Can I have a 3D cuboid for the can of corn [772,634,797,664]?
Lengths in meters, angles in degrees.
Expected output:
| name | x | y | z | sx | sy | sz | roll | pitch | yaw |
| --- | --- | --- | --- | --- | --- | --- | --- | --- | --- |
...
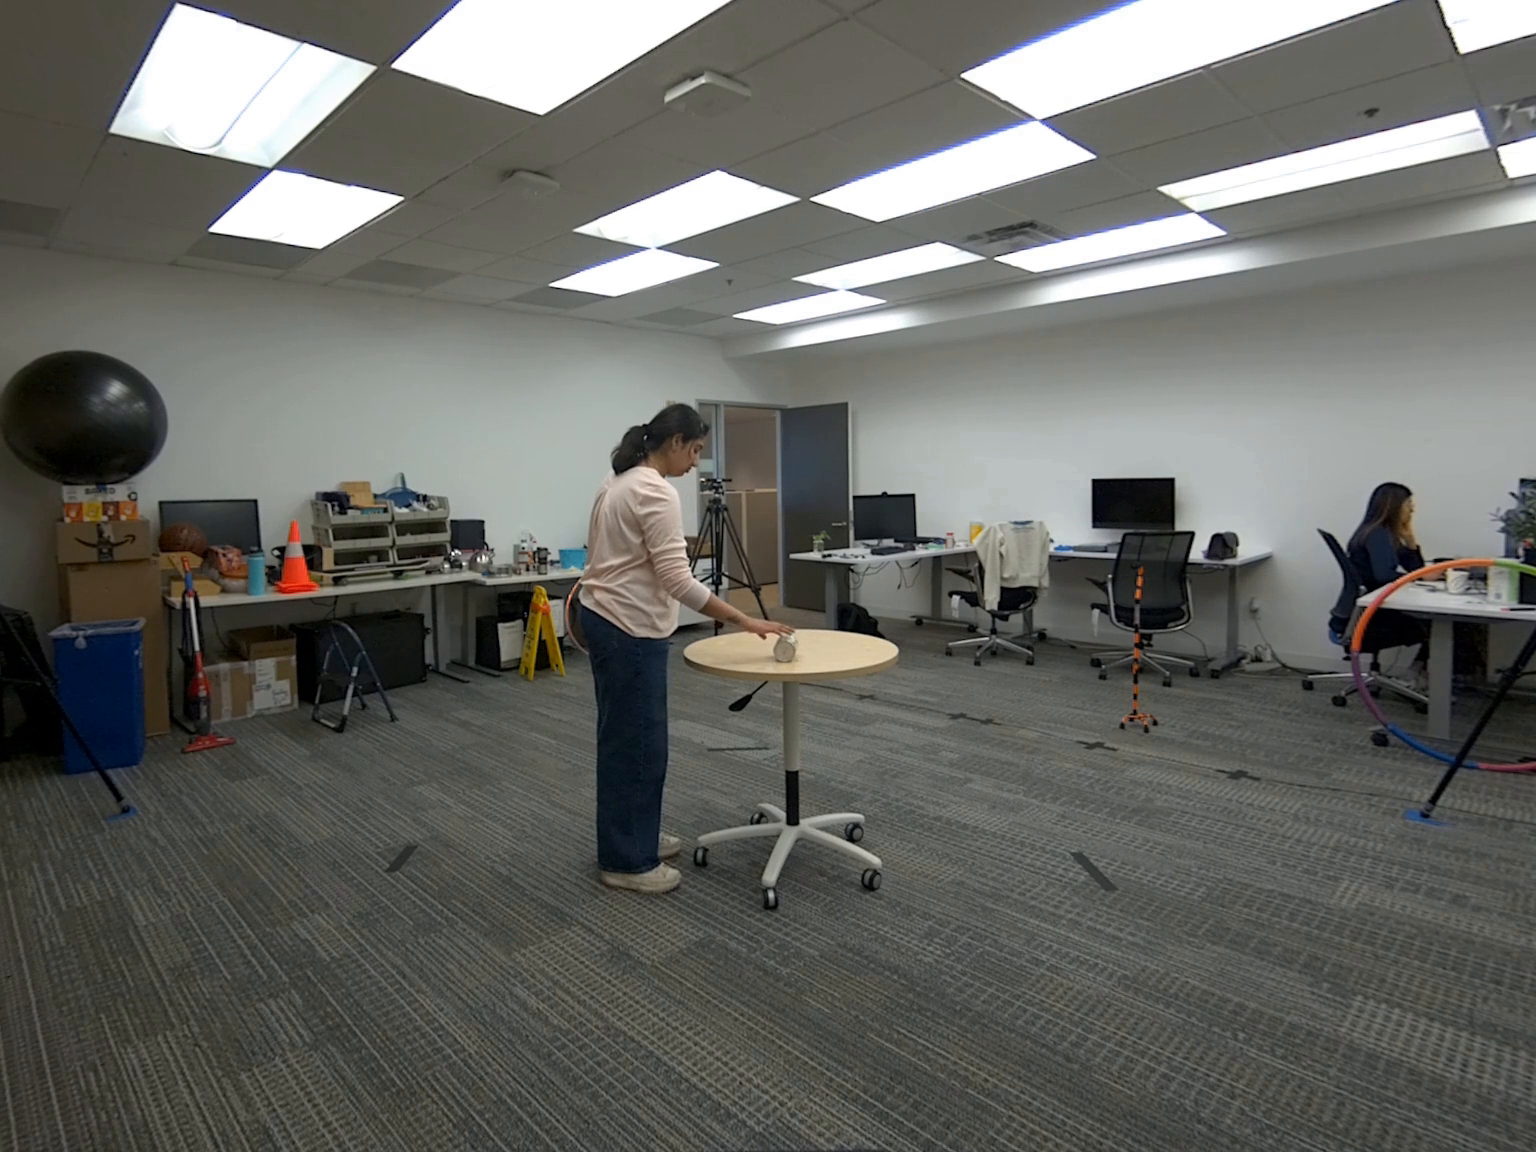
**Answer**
| name | x | y | z | sx | sy | sz | roll | pitch | yaw |
| --- | --- | --- | --- | --- | --- | --- | --- | --- | --- |
| can of corn | 0.058 | 0.240 | 2.900 | 0.074 | 0.074 | 0.111 | -1 | 4 | 3 |
